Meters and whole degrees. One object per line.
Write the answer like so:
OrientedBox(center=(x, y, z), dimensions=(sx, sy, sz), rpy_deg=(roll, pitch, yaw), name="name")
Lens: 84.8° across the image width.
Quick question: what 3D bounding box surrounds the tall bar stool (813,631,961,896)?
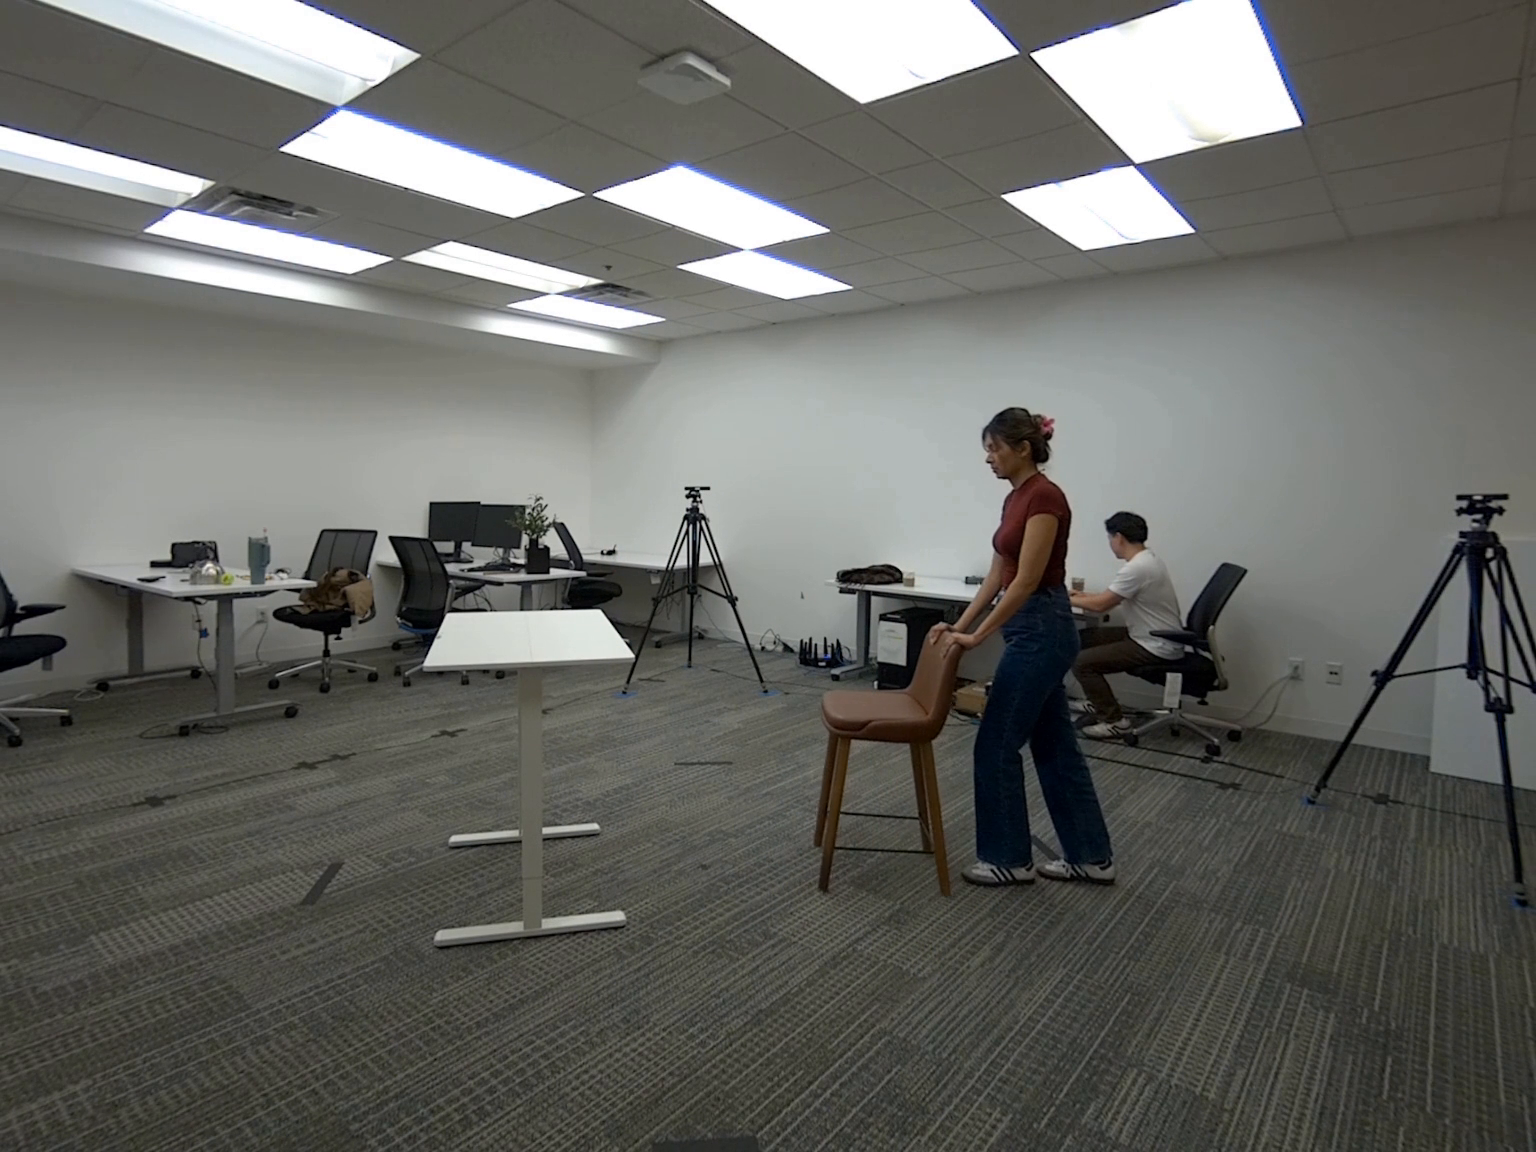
OrientedBox(center=(0.417, 0.639, 3.109), dimensions=(0.469, 0.887, 0.456), rpy_deg=(3, 4, 2), name="tall bar stool")
